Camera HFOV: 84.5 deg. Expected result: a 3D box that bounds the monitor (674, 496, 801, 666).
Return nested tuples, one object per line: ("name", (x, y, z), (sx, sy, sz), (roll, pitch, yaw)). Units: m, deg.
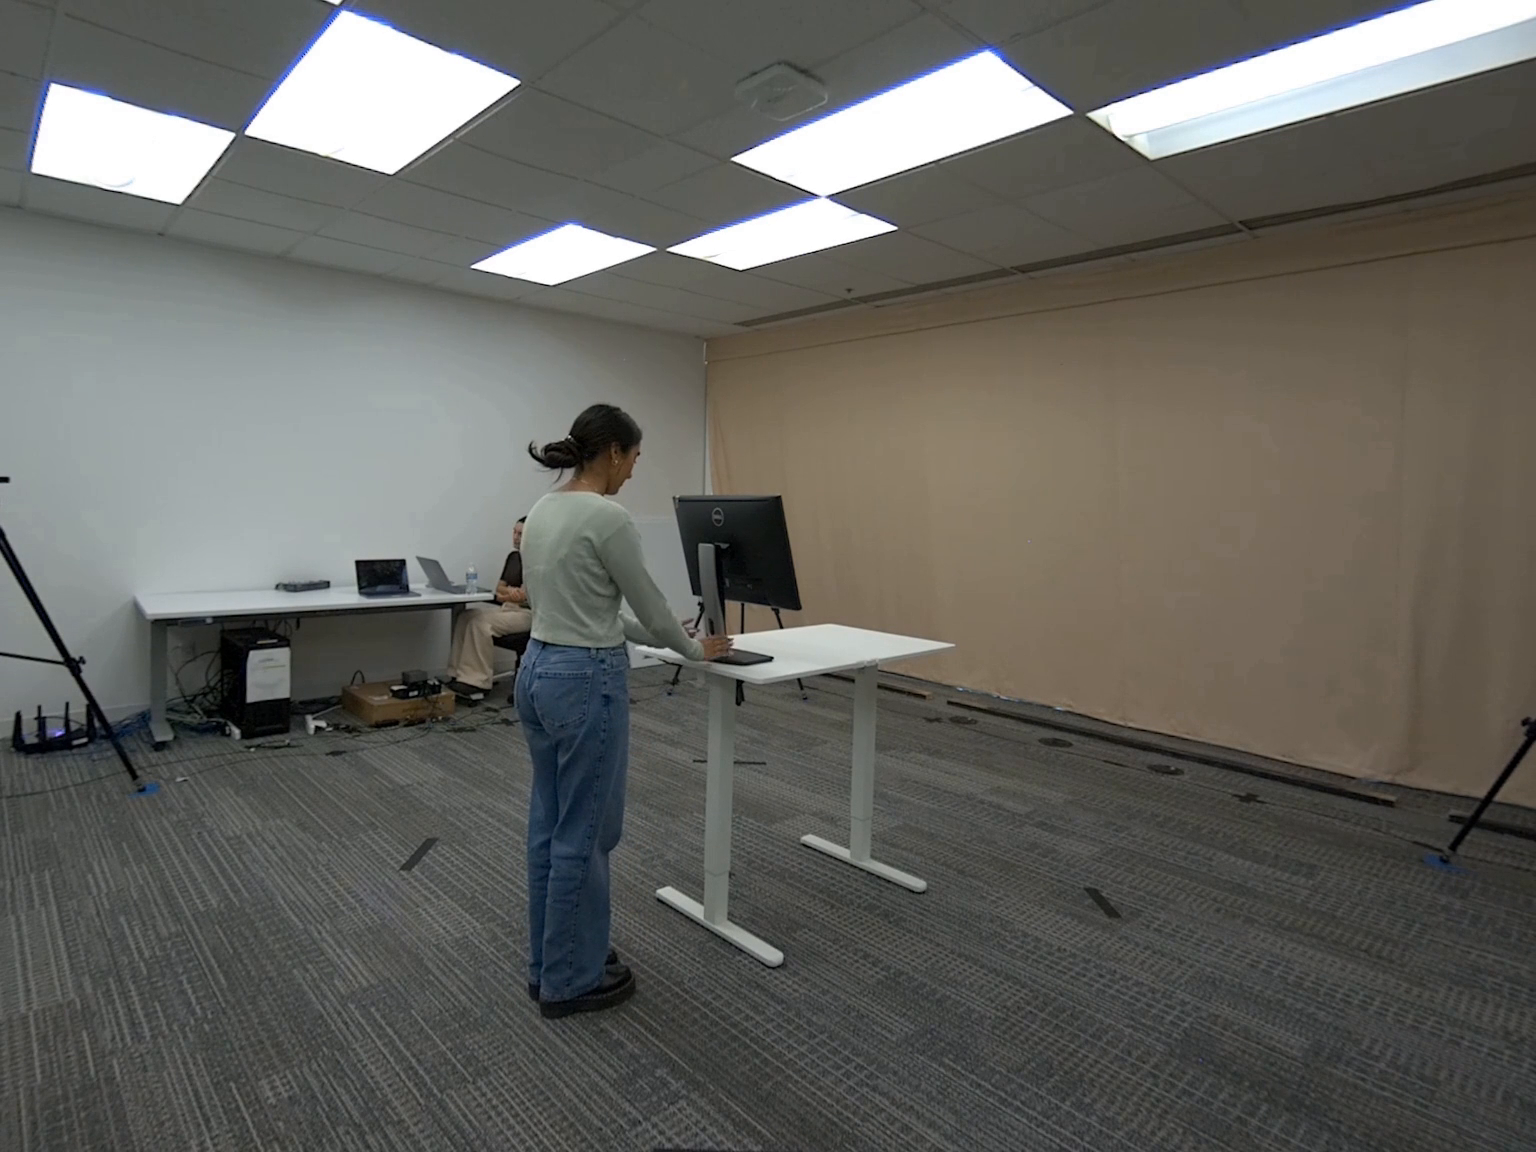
("monitor", (-0.134, 0.009, 2.640), (0.183, 0.521, 0.553), (-4, 6, -42))
